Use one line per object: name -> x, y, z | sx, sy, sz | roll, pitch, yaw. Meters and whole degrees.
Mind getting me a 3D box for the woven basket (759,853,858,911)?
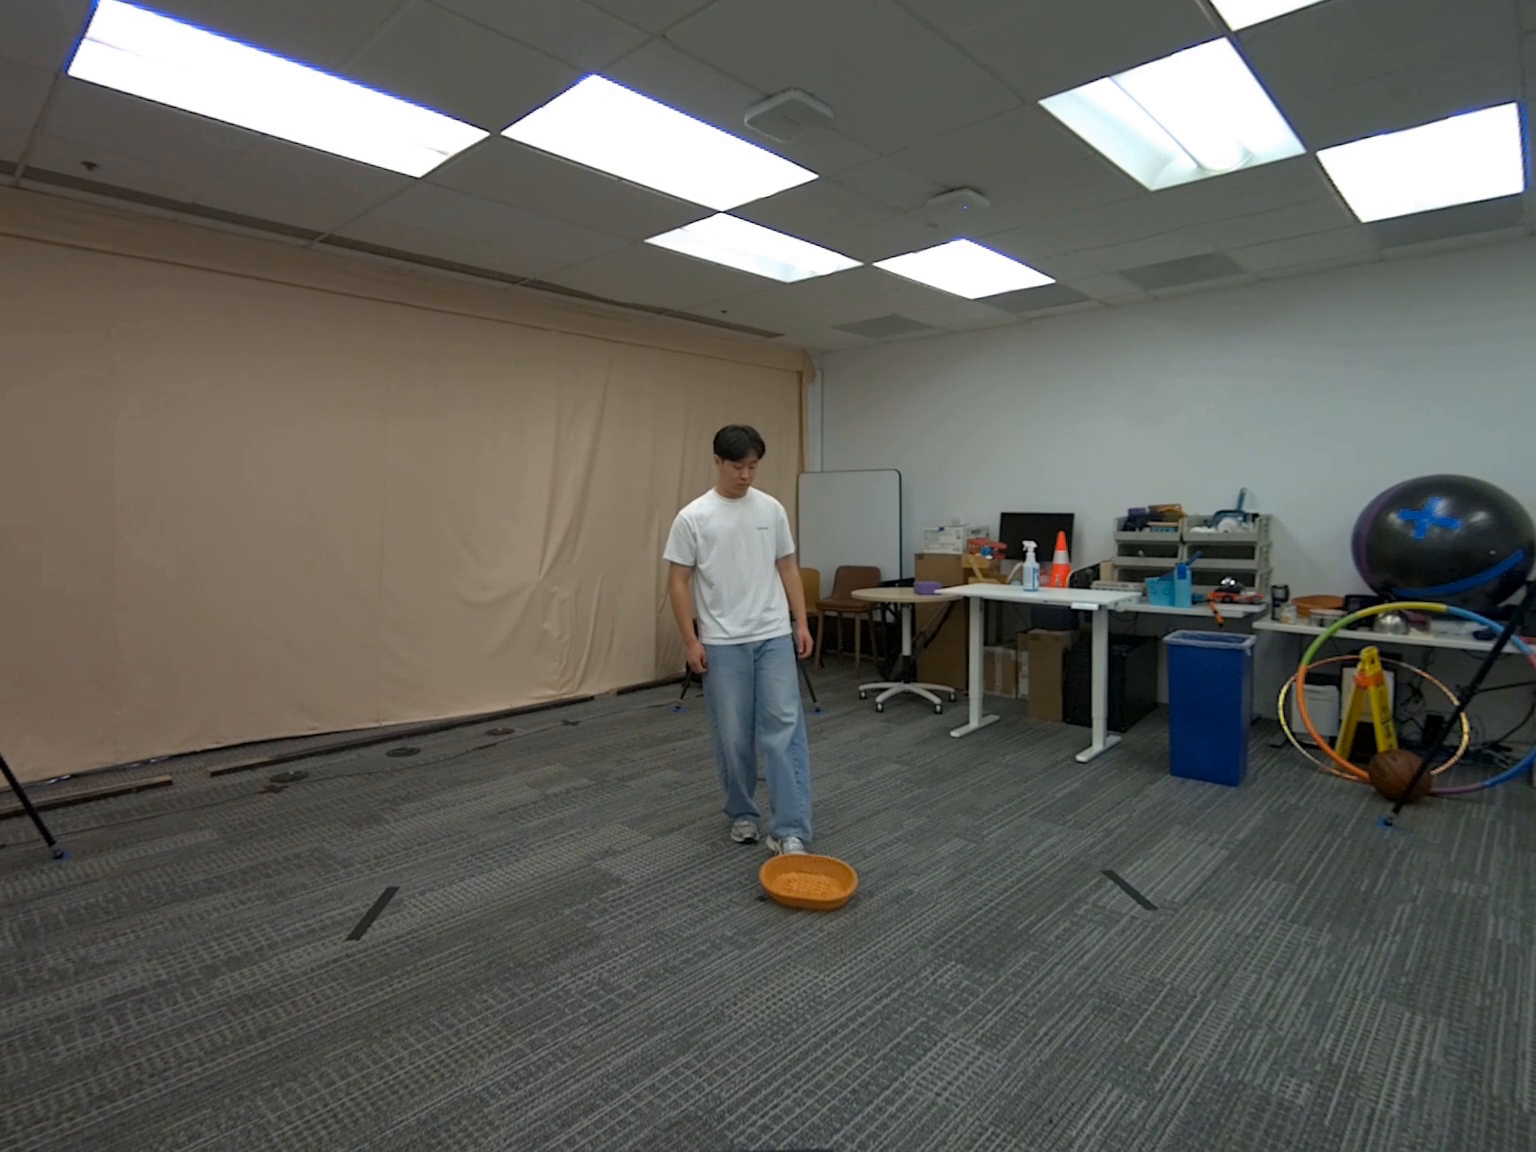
woven basket -> 0.150, 1.088, 2.997 | 0.358, 0.073, 0.249 | 3, 15, 20
